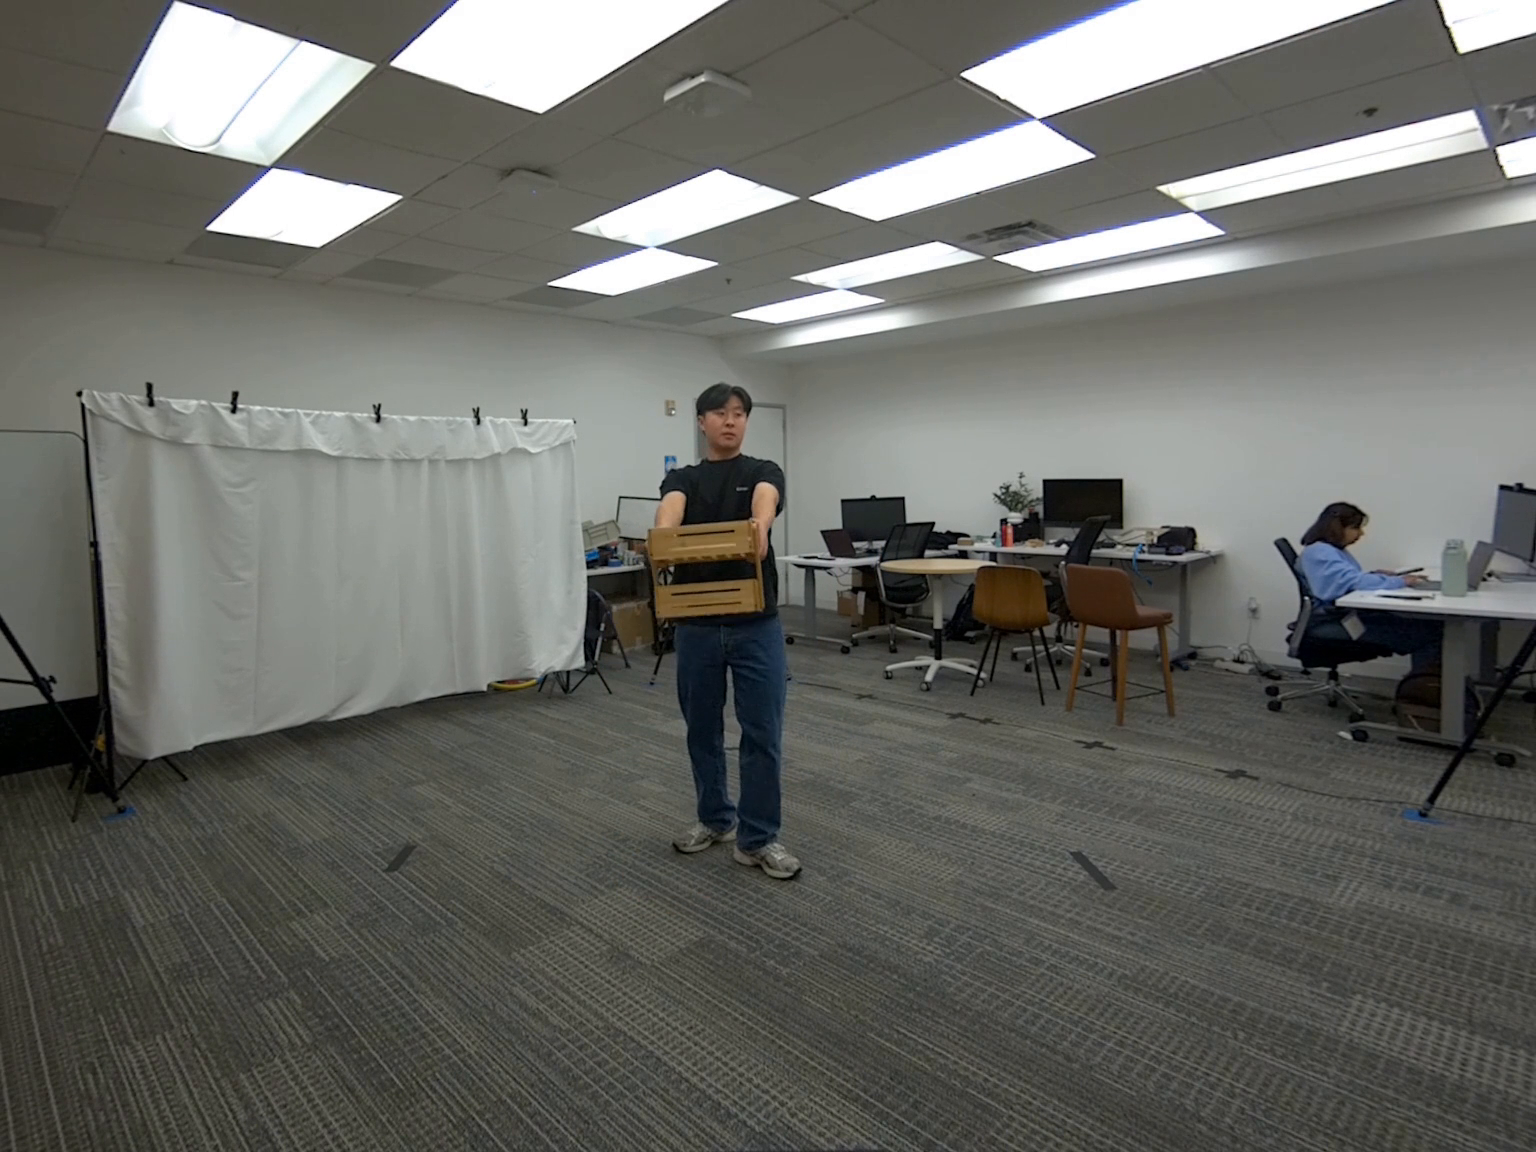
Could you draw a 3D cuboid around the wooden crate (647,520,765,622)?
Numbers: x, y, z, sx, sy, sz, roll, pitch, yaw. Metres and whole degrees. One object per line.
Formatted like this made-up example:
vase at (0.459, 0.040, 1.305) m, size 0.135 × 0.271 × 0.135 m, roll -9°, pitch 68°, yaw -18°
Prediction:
wooden crate at (-0.180, -0.012, 2.609) m, size 0.325 × 0.275 × 0.300 m, roll -5°, pitch -4°, yaw 3°
